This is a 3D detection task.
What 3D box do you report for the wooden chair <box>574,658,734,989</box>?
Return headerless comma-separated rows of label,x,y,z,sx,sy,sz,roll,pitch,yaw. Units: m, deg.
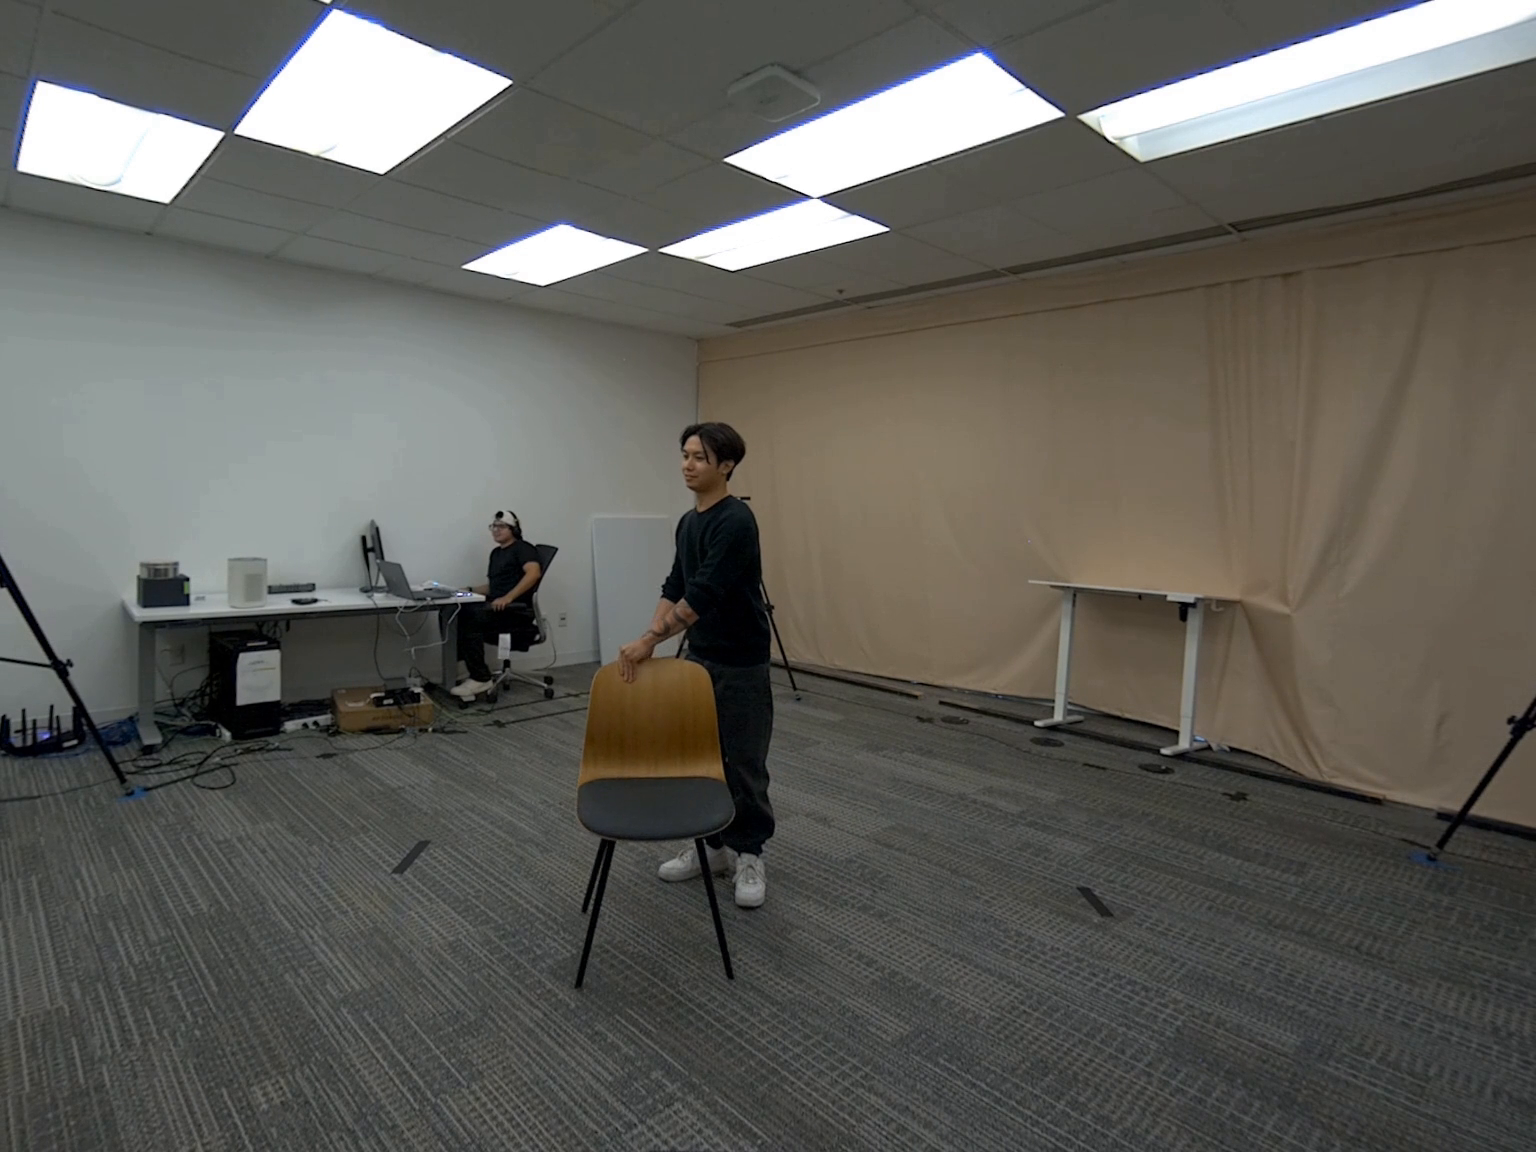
wooden chair,-0.354,0.725,2.582,0.474,0.878,0.527,1,-1,-10
